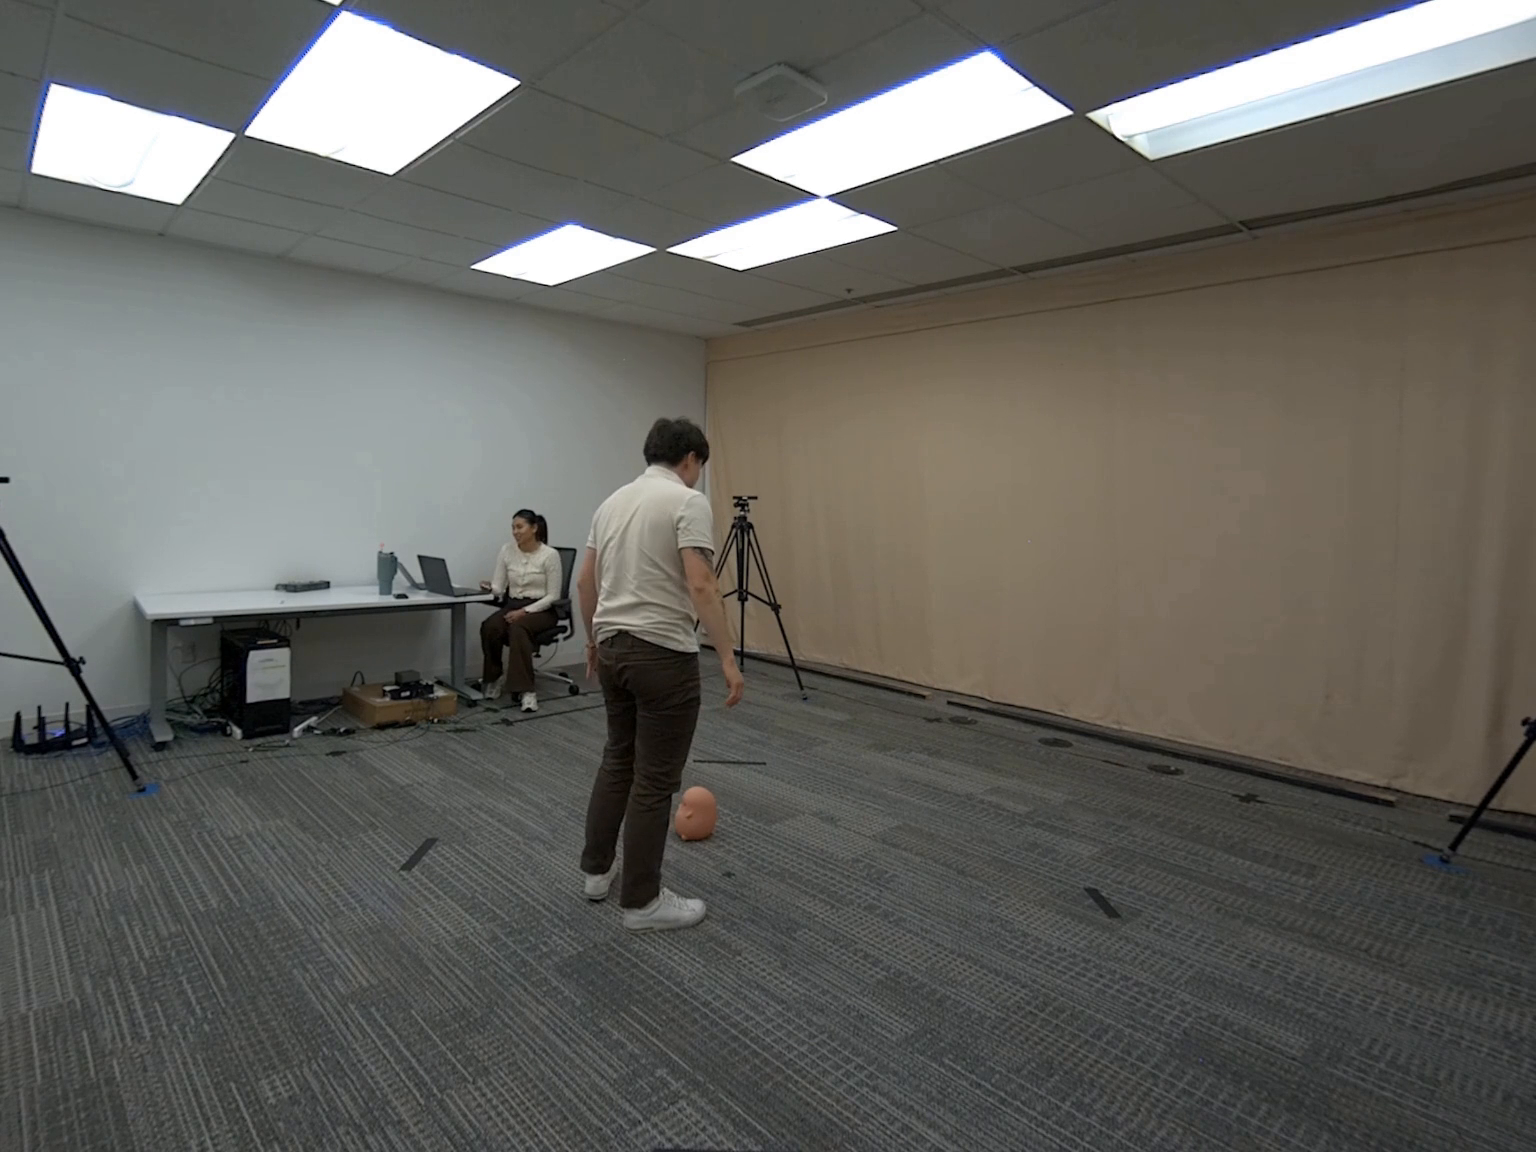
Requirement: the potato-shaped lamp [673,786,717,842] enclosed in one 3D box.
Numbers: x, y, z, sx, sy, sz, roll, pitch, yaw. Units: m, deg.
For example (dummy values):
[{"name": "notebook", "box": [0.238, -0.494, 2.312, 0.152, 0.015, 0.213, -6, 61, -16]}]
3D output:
[{"name": "potato-shaped lamp", "box": [-0.307, 0.966, 3.455, 0.169, 0.198, 0.167, 5, 3, -19]}]
